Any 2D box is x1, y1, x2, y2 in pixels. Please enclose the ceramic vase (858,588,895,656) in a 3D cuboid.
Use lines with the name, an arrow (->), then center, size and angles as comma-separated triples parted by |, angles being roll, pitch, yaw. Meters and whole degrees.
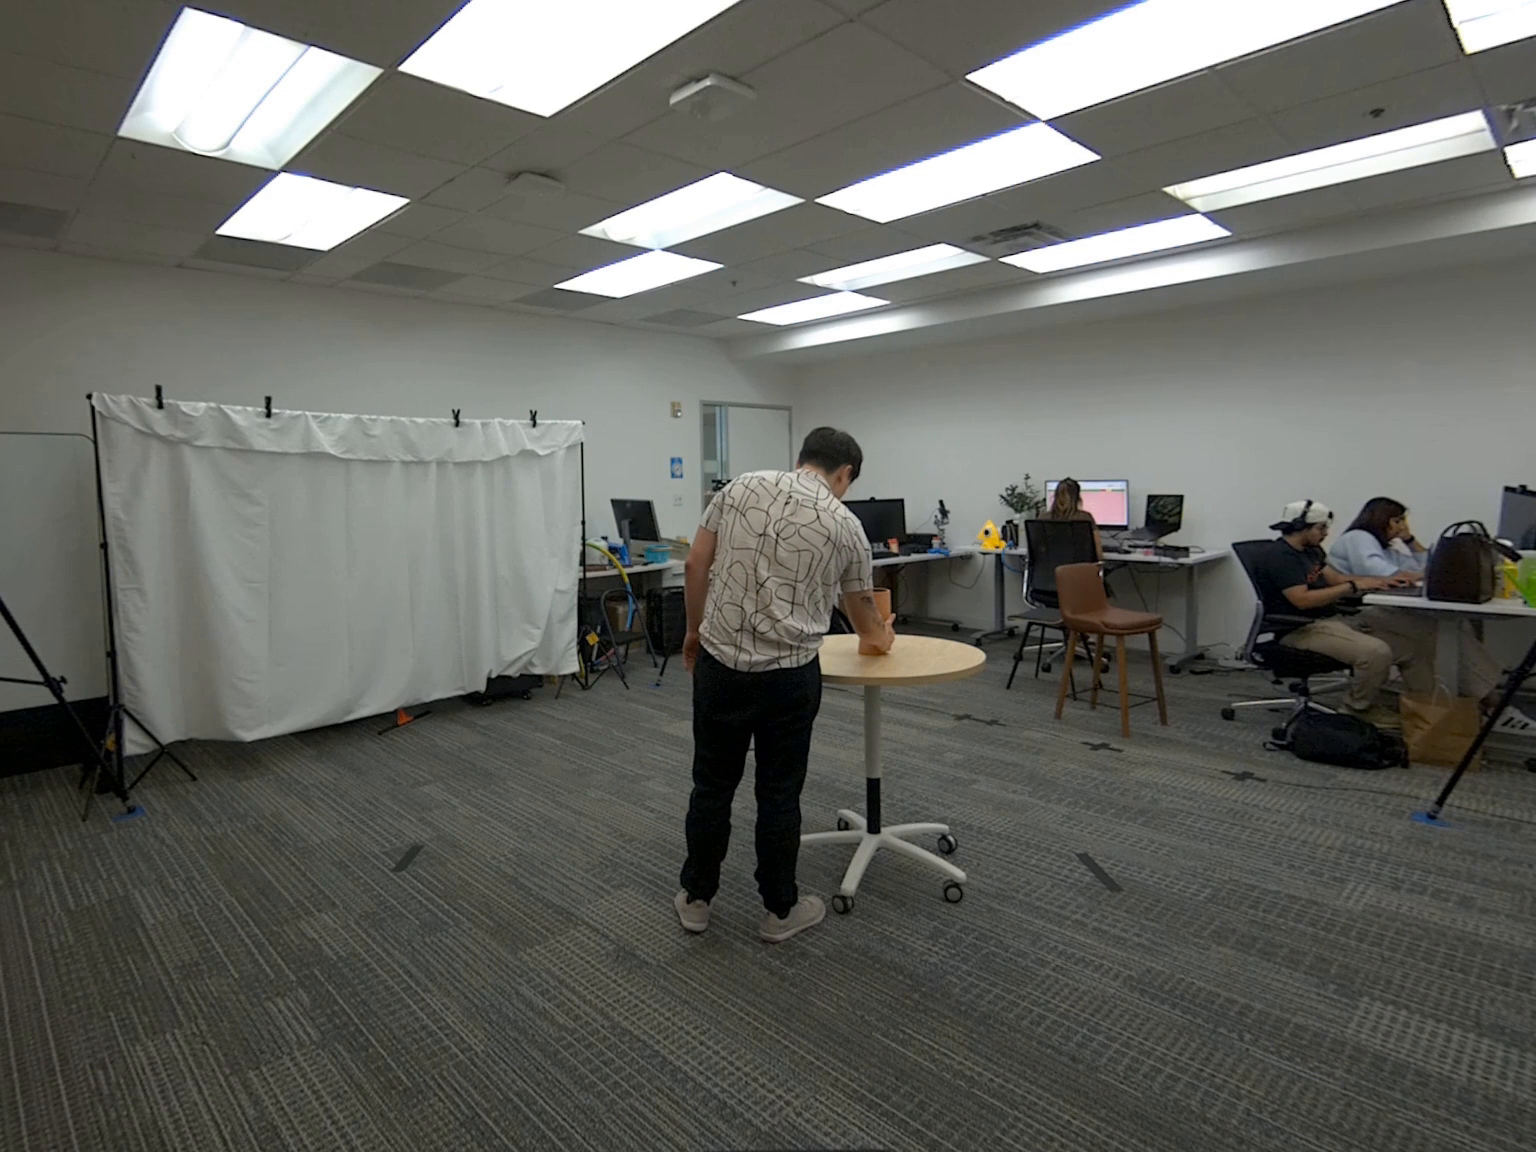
ceramic vase -> 0.376, 0.161, 2.992 | 0.154, 0.219, 0.139 | -4, 5, -39
